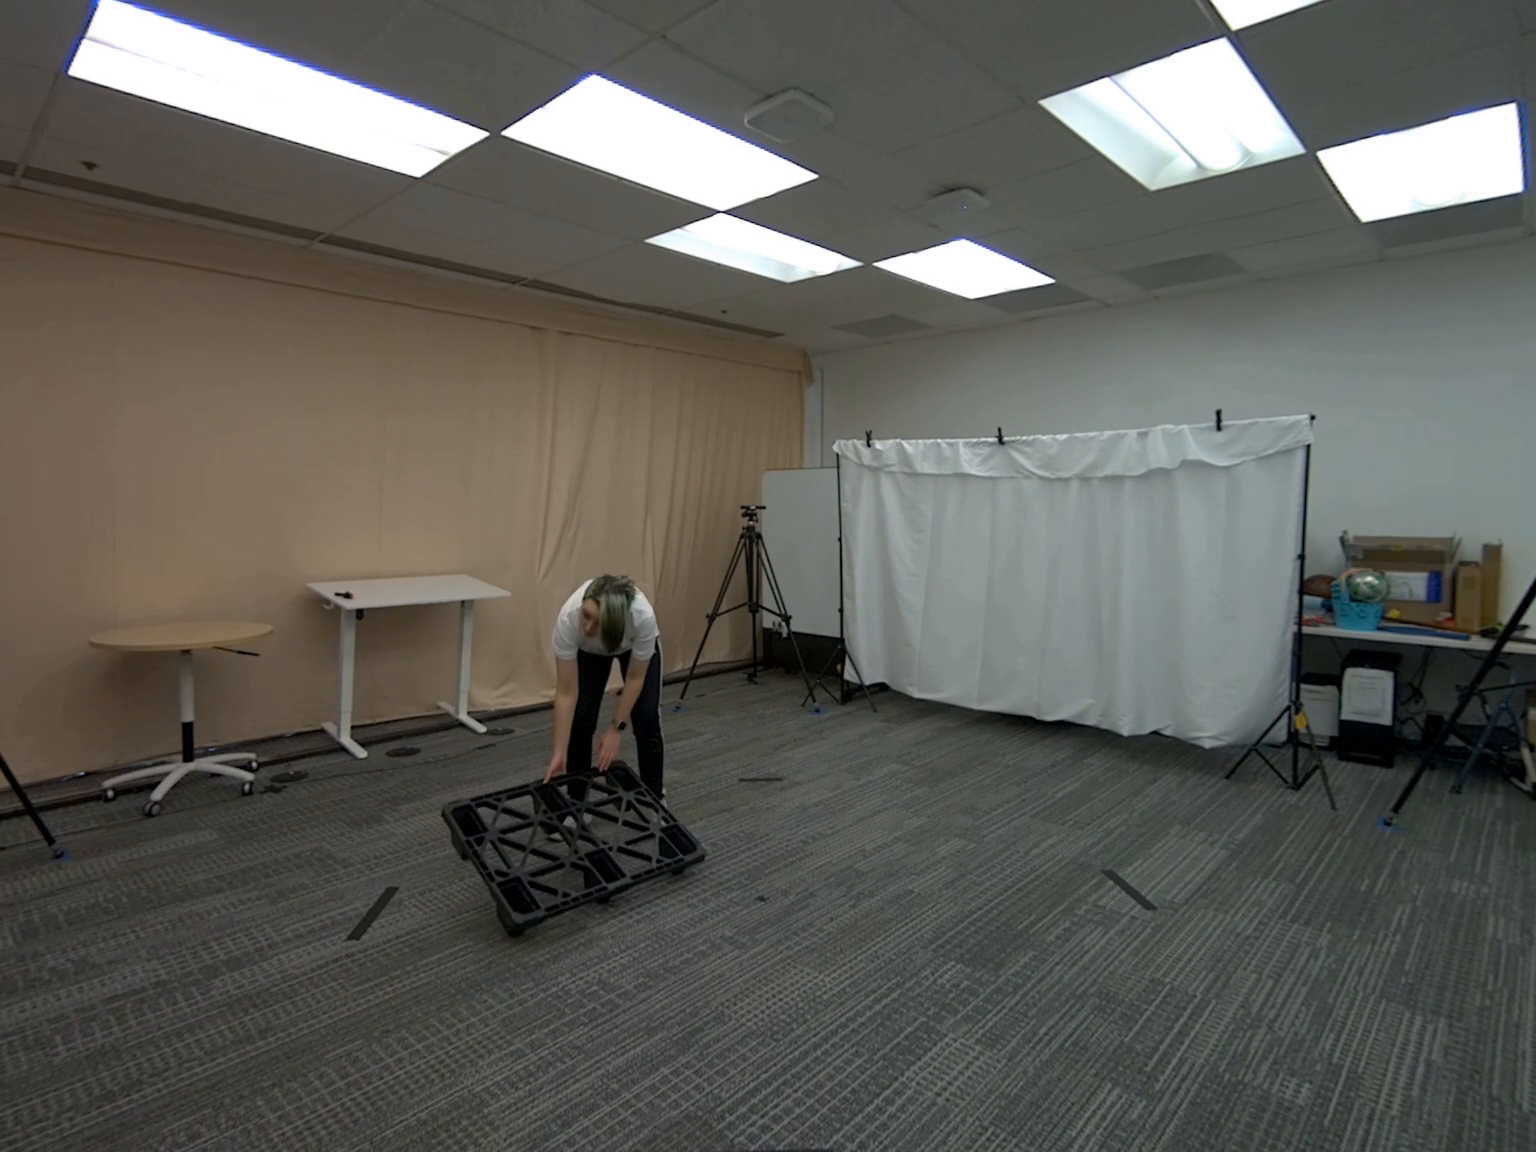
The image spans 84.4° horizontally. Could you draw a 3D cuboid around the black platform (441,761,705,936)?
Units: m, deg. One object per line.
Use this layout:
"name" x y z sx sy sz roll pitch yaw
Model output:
"black platform" -0.715 0.992 3.101 0.781 0.142 0.627 -5 29 -43
